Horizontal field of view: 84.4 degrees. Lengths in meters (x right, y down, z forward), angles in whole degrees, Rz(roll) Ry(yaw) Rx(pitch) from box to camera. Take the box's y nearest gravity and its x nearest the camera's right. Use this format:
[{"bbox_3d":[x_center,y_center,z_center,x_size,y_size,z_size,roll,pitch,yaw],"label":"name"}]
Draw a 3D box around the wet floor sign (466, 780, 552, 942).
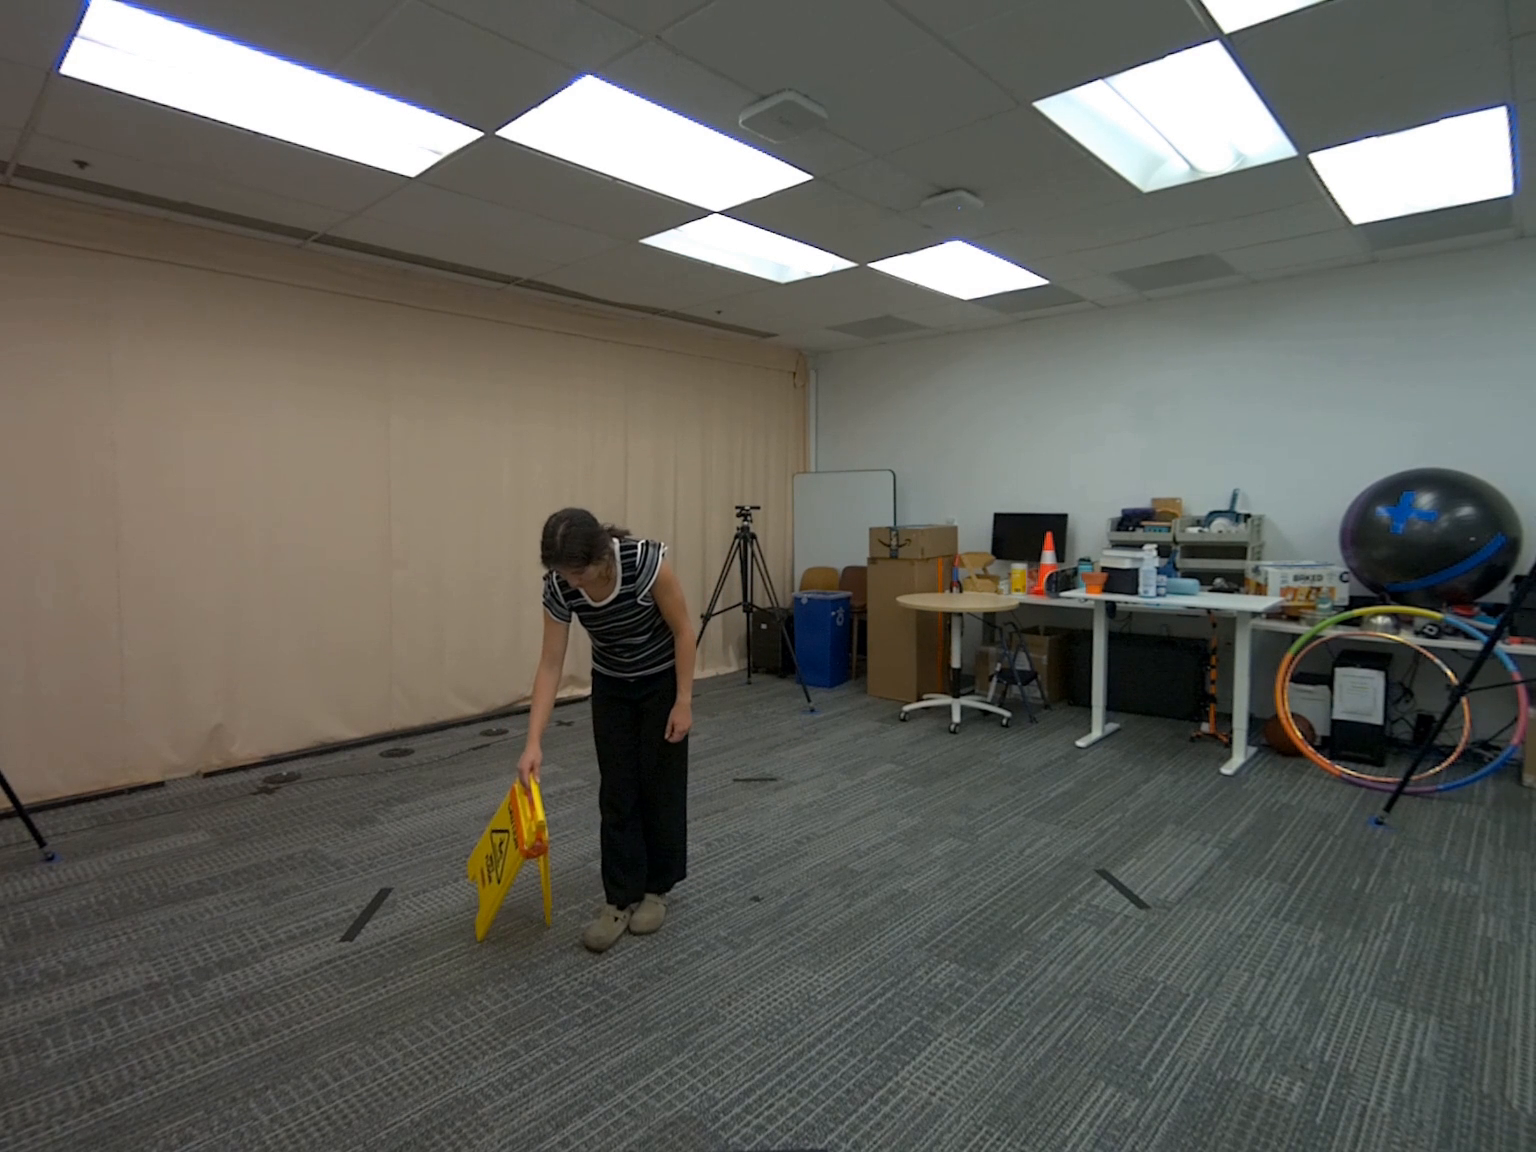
[{"bbox_3d":[-0.776,0.848,2.643,0.283,0.643,0.290,3,44,-25],"label":"wet floor sign"}]
